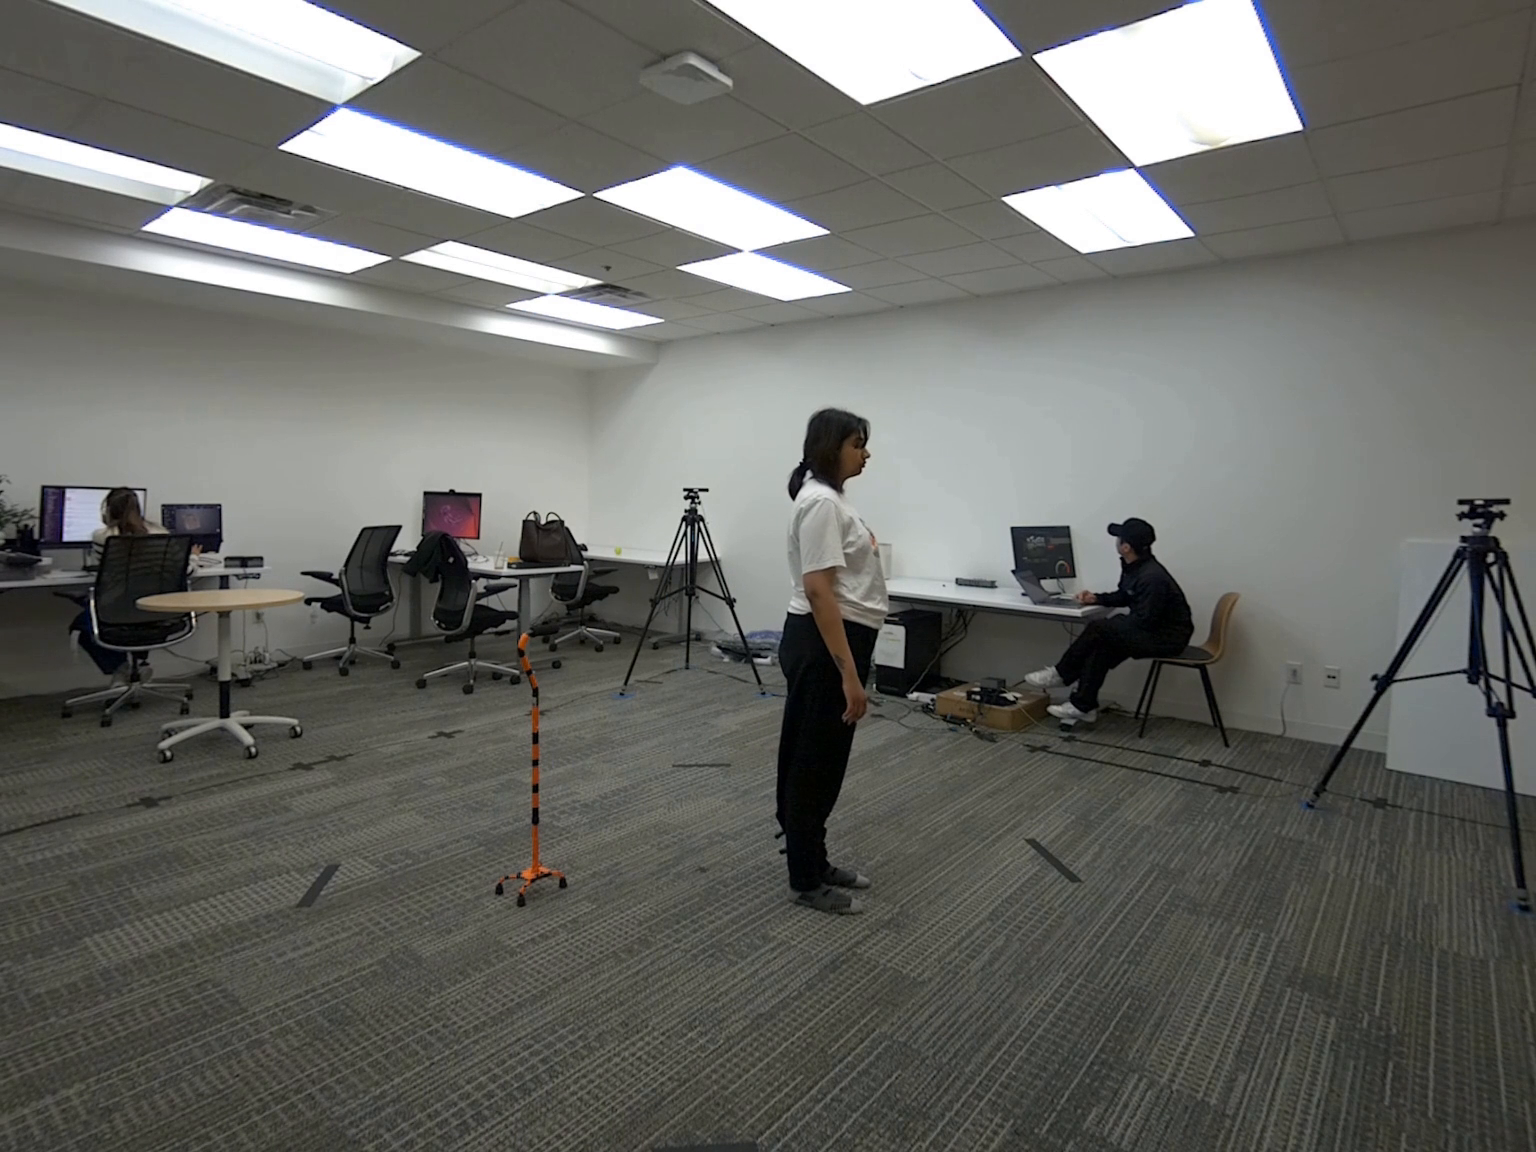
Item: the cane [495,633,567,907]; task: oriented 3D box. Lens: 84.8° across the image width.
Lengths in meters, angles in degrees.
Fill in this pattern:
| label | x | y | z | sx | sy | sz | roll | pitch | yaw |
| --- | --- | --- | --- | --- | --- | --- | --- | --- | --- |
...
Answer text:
| label | x | y | z | sx | sy | sz | roll | pitch | yaw |
| --- | --- | --- | --- | --- | --- | --- | --- | --- | --- |
| cane | -0.825 | 0.627 | 2.902 | 0.156 | 0.905 | 0.200 | 3 | 4 | 39 |
